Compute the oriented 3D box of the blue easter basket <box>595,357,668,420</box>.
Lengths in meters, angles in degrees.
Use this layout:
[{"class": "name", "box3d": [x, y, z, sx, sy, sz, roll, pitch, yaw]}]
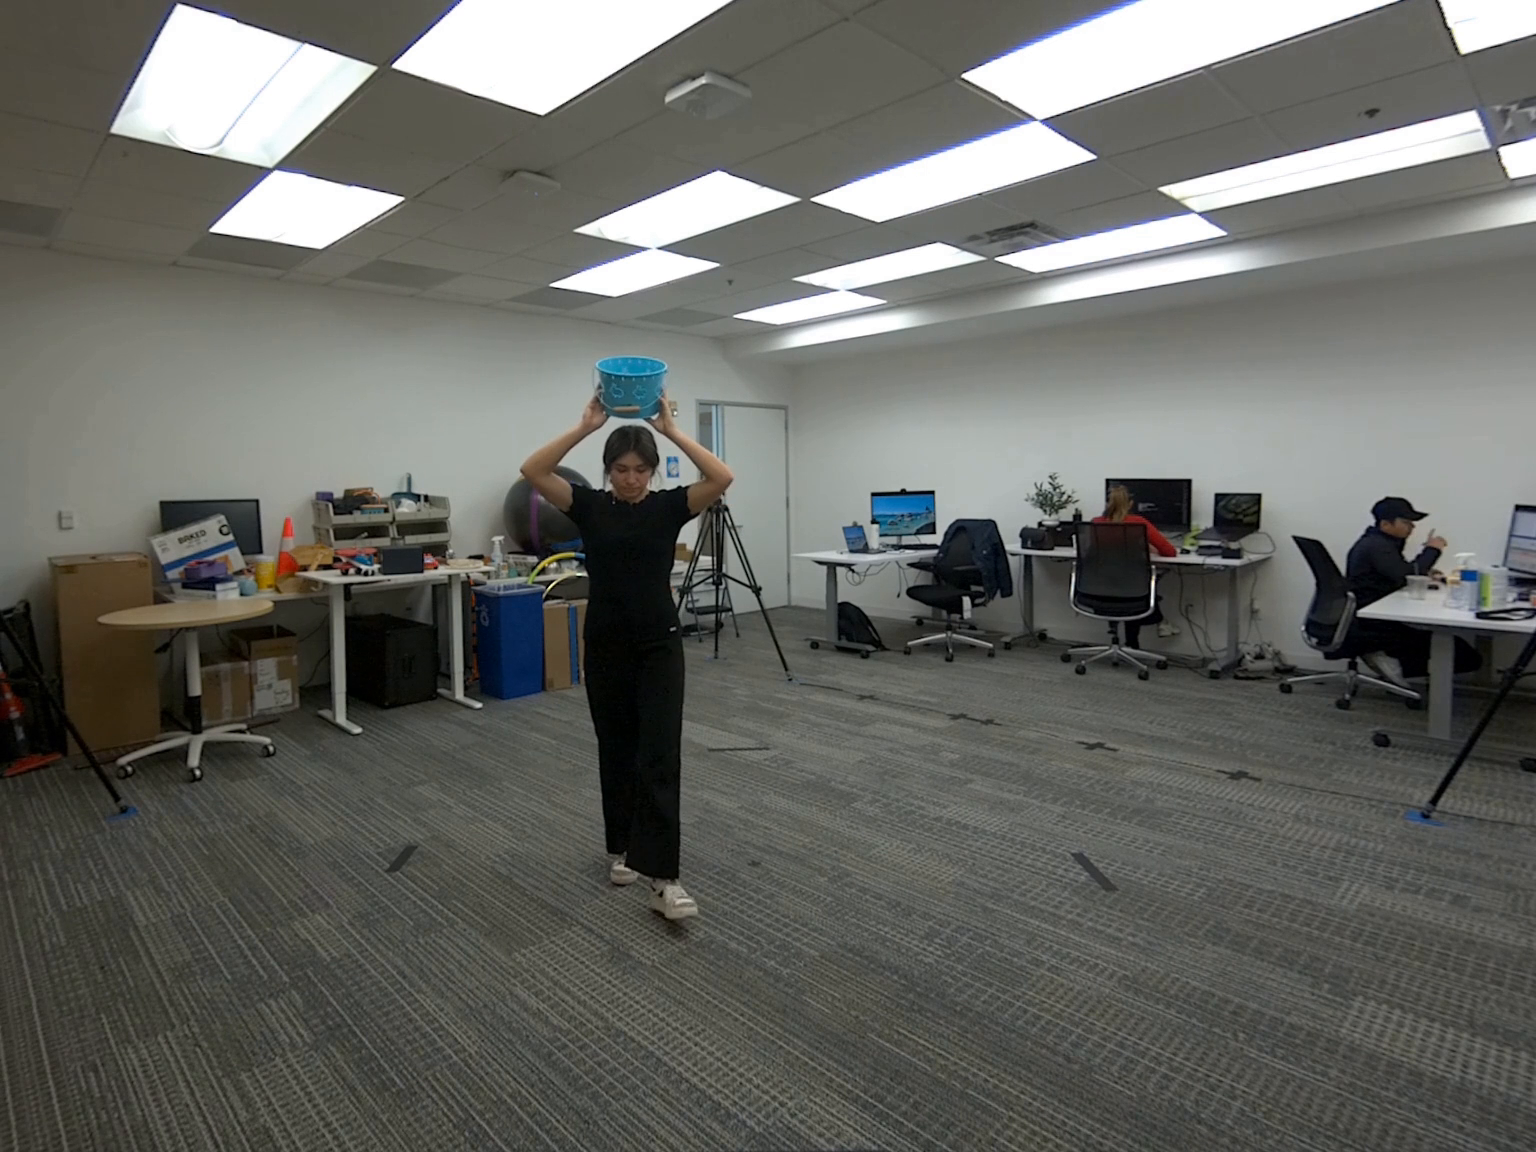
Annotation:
[{"class": "blue easter basket", "box3d": [-0.451, -0.612, 2.778, 0.243, 0.152, 0.249, 1, 29, -2]}]
